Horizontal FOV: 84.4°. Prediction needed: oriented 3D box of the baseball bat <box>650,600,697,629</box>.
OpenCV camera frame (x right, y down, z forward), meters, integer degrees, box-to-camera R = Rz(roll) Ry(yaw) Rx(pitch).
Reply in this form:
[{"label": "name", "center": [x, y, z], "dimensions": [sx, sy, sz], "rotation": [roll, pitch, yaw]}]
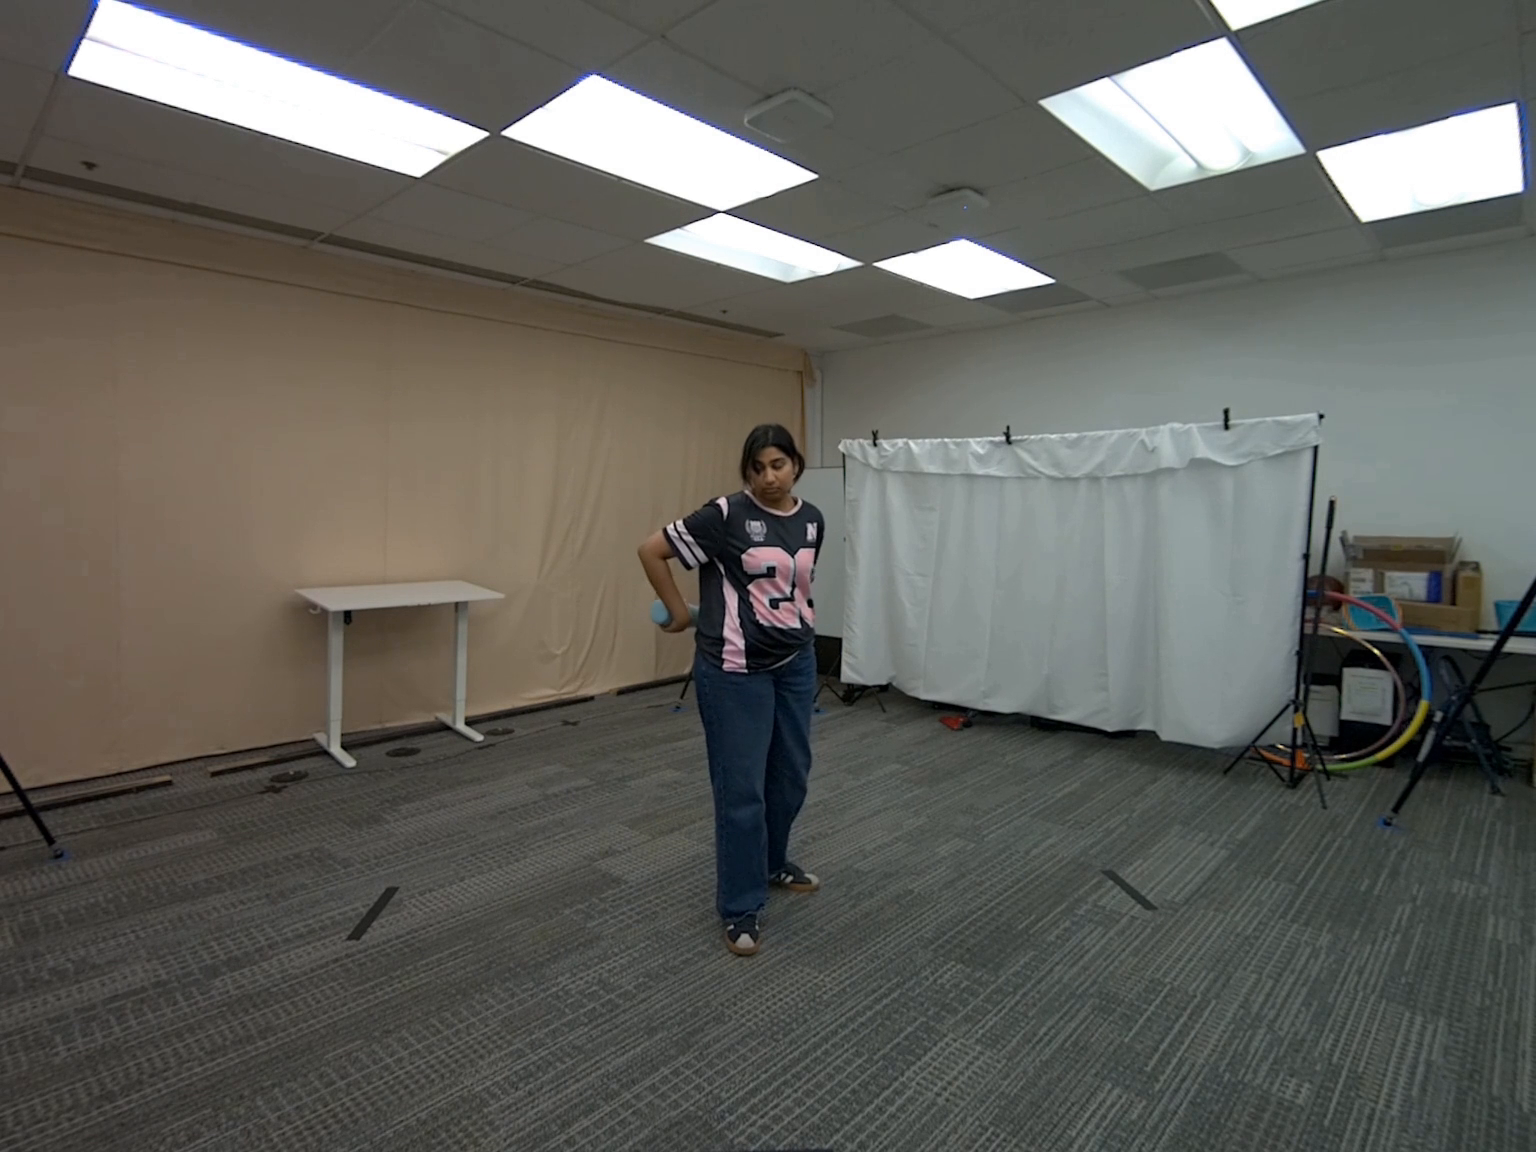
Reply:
[{"label": "baseball bat", "center": [-0.233, 0.158, 3.036], "dimensions": [0.091, 0.089, 0.526], "rotation": [2, -7, 26]}]
